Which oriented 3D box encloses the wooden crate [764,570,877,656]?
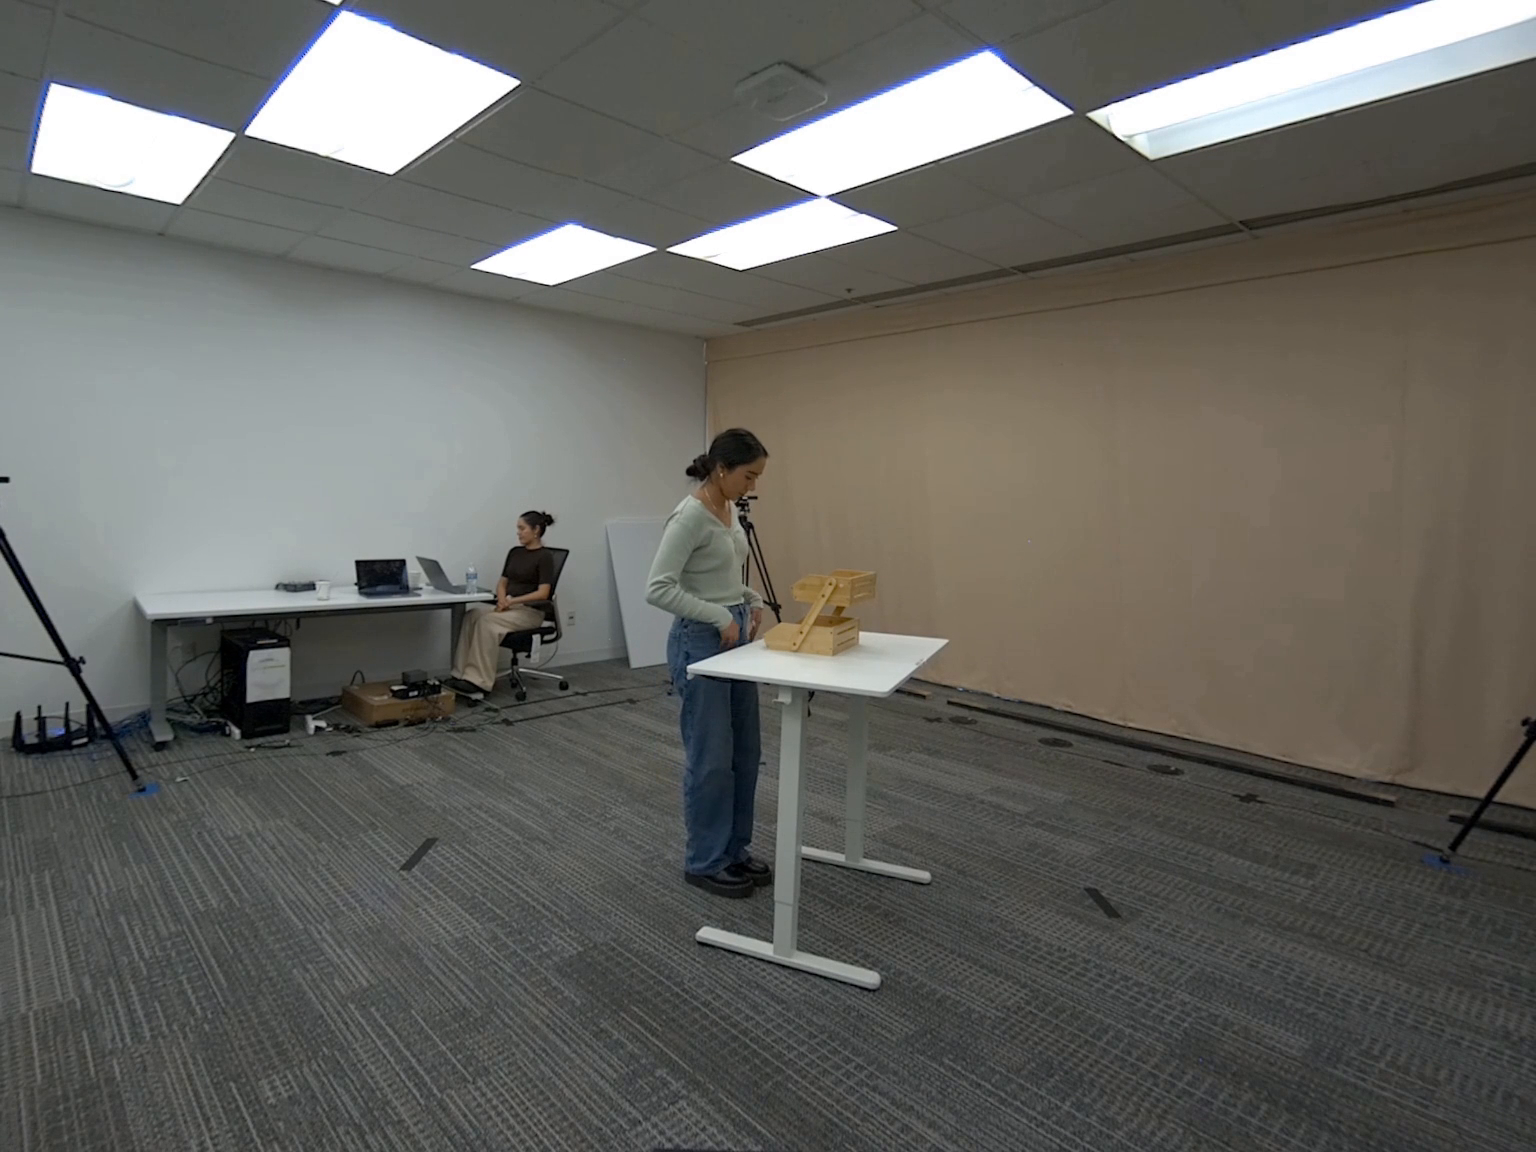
[{"bbox_3d":[0.173,0.114,2.901,0.308,0.272,0.319,4,5,24],"label":"wooden crate"}]
